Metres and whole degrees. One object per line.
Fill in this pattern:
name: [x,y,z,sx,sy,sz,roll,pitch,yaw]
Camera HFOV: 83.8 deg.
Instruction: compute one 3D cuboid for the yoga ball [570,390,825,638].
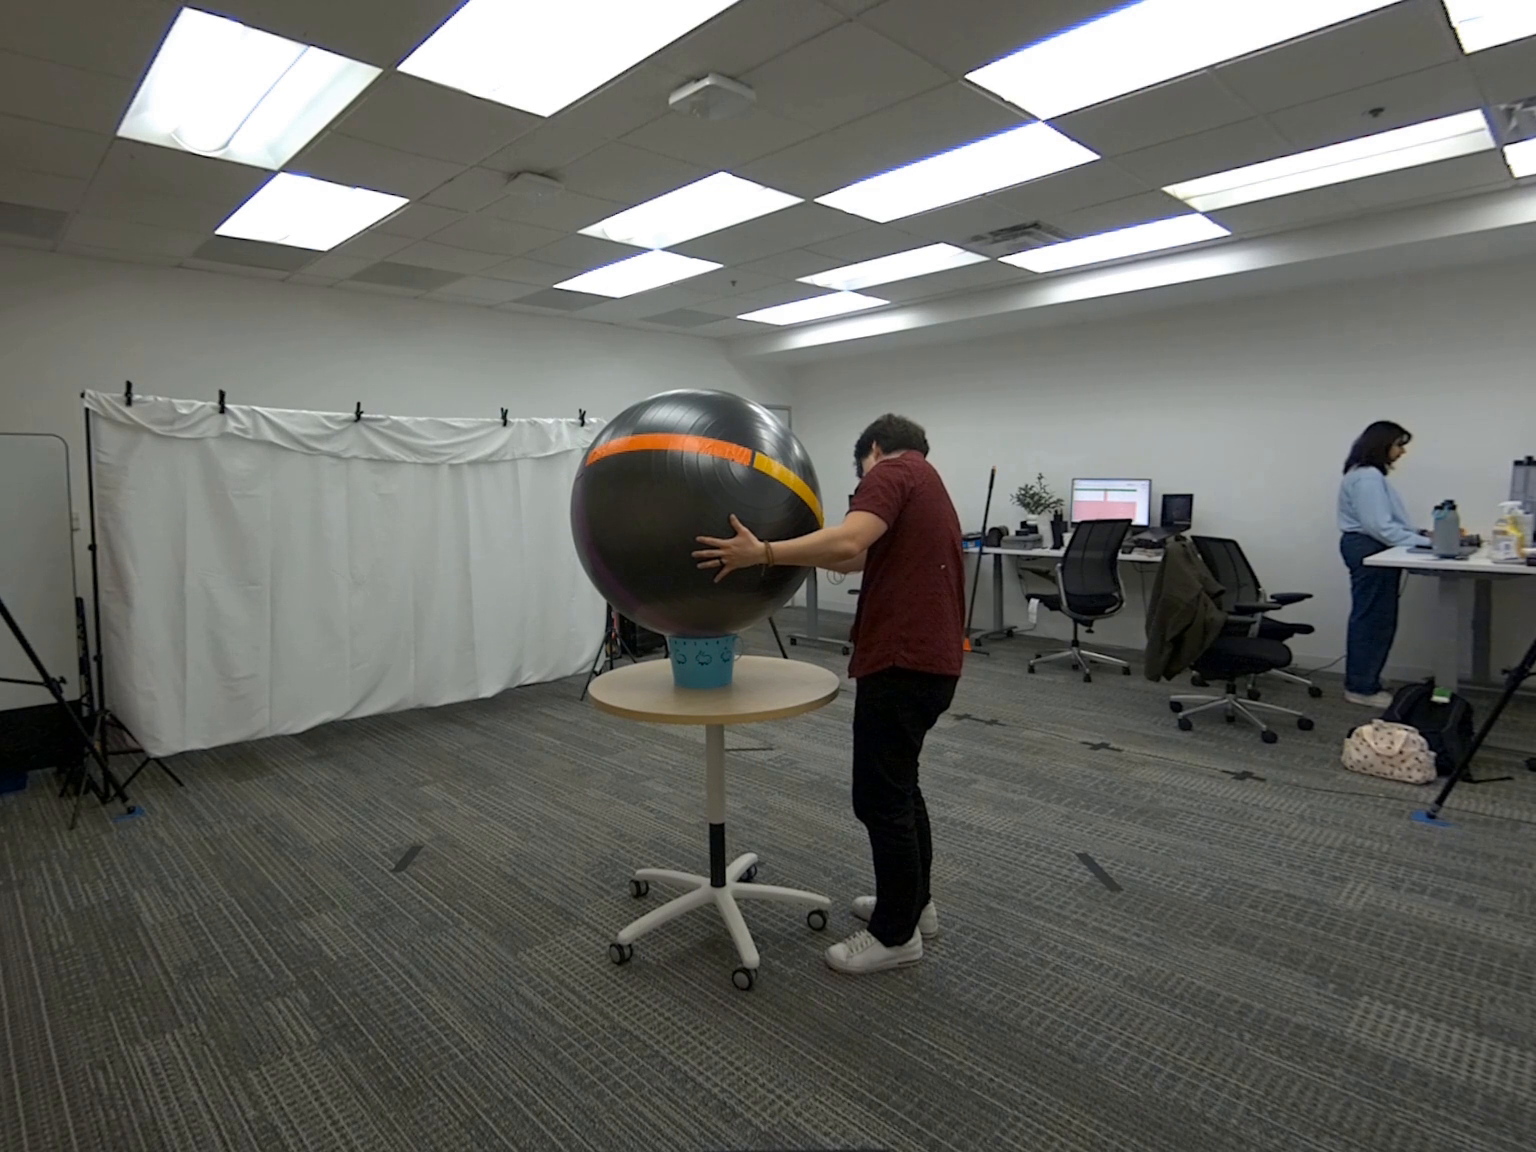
yoga ball: [-0.214,-0.182,2.589,0.757,0.755,0.762,-1,5,-2]
